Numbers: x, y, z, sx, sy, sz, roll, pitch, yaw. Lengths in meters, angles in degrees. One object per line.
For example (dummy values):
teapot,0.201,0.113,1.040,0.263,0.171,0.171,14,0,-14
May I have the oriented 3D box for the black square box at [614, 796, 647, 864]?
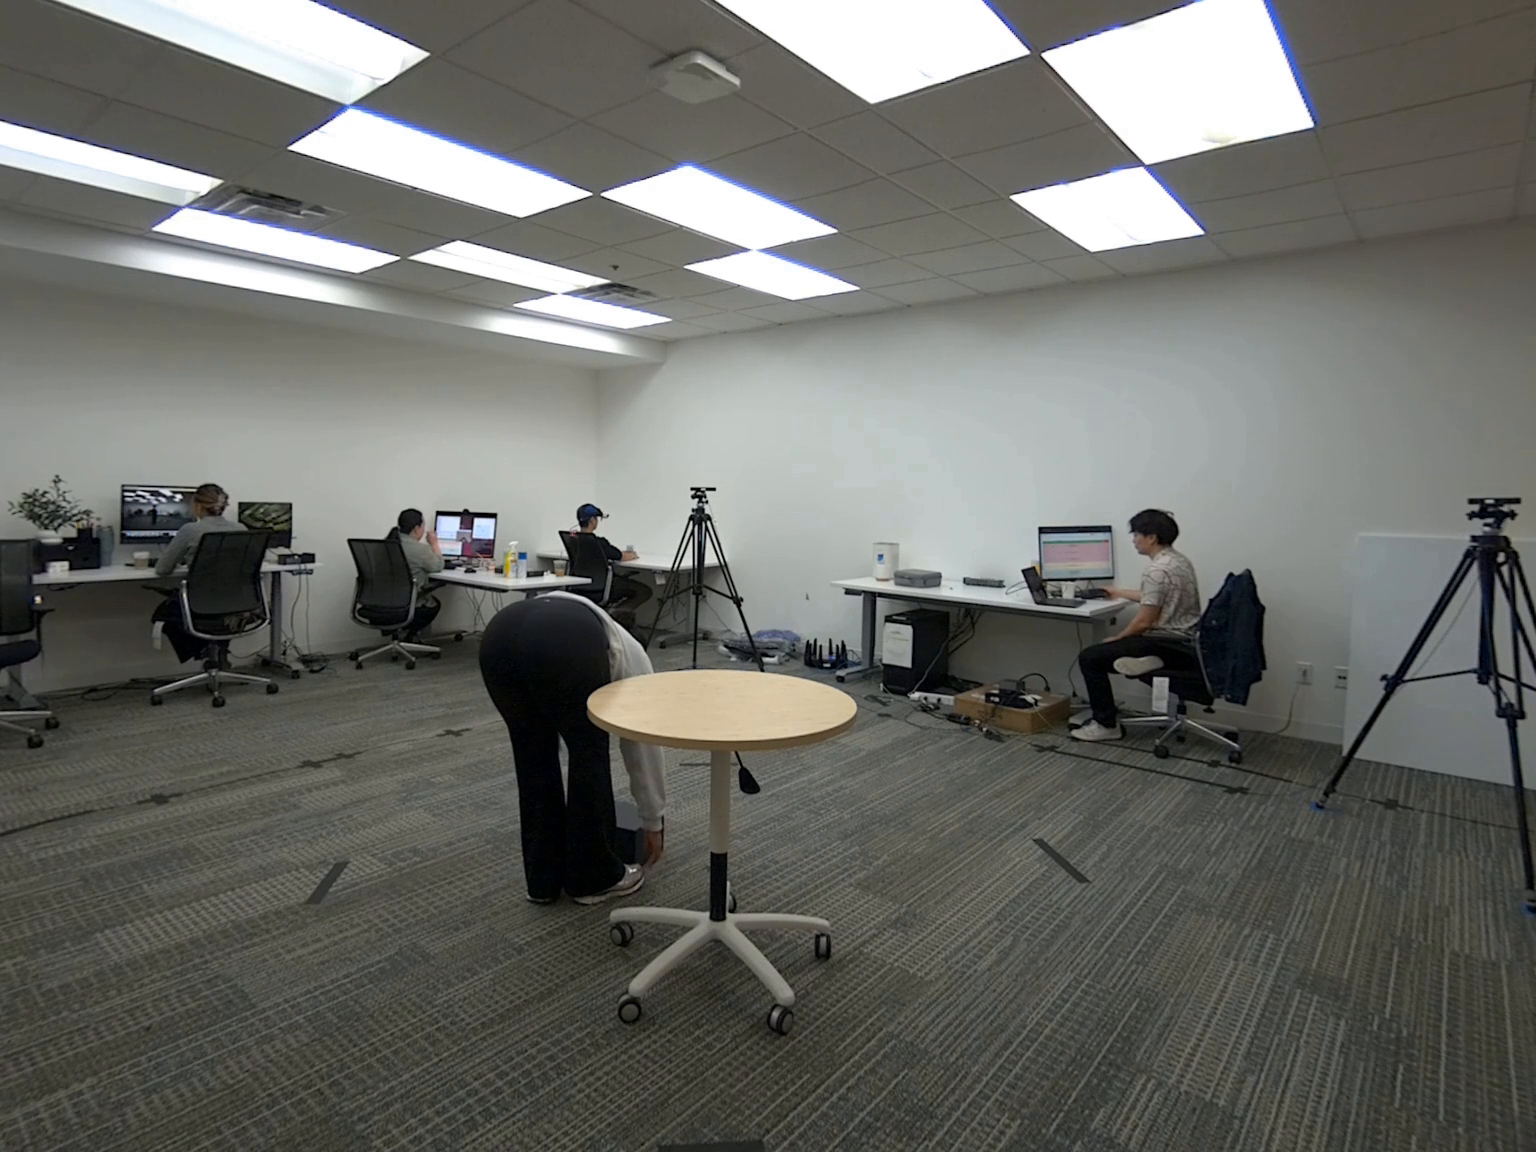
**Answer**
black square box,-0.544,0.965,3.193,0.222,0.155,0.223,3,5,21
